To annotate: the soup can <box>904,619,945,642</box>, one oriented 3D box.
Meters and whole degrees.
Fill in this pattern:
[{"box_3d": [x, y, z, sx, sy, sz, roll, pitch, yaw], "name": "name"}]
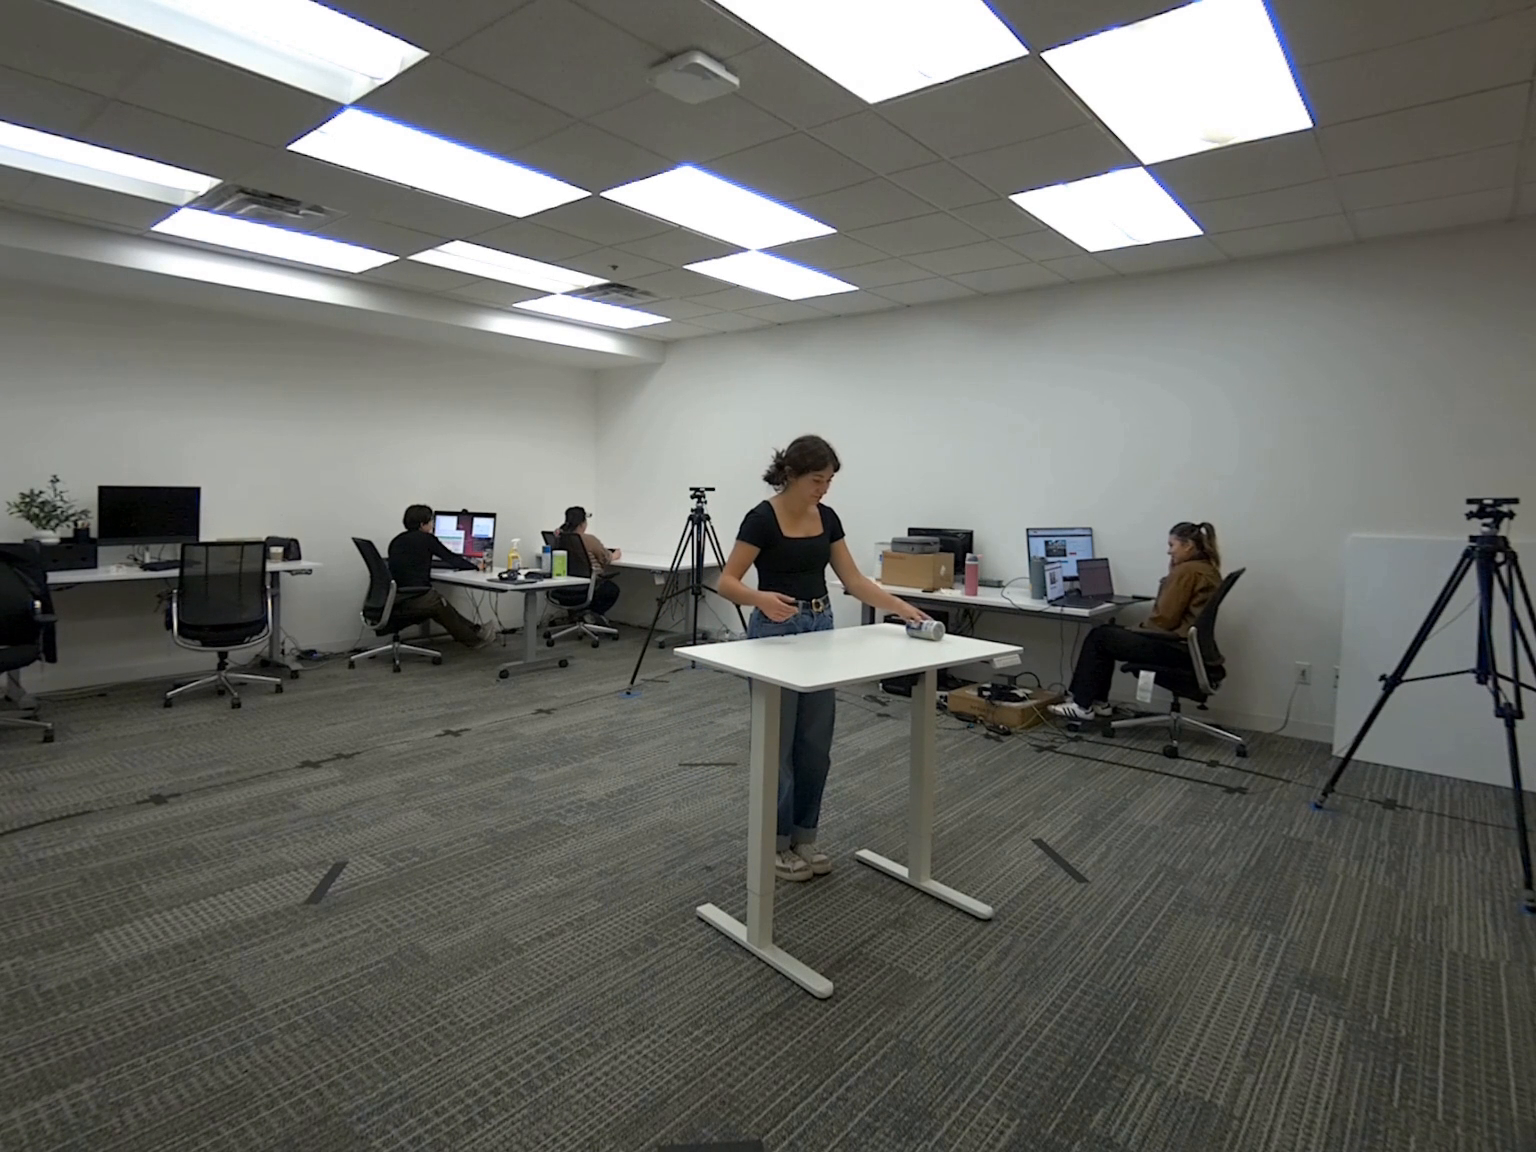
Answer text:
[{"box_3d": [0.542, 0.186, 2.941, 0.065, 0.067, 0.126, -3, 7, -41], "name": "soup can"}]
